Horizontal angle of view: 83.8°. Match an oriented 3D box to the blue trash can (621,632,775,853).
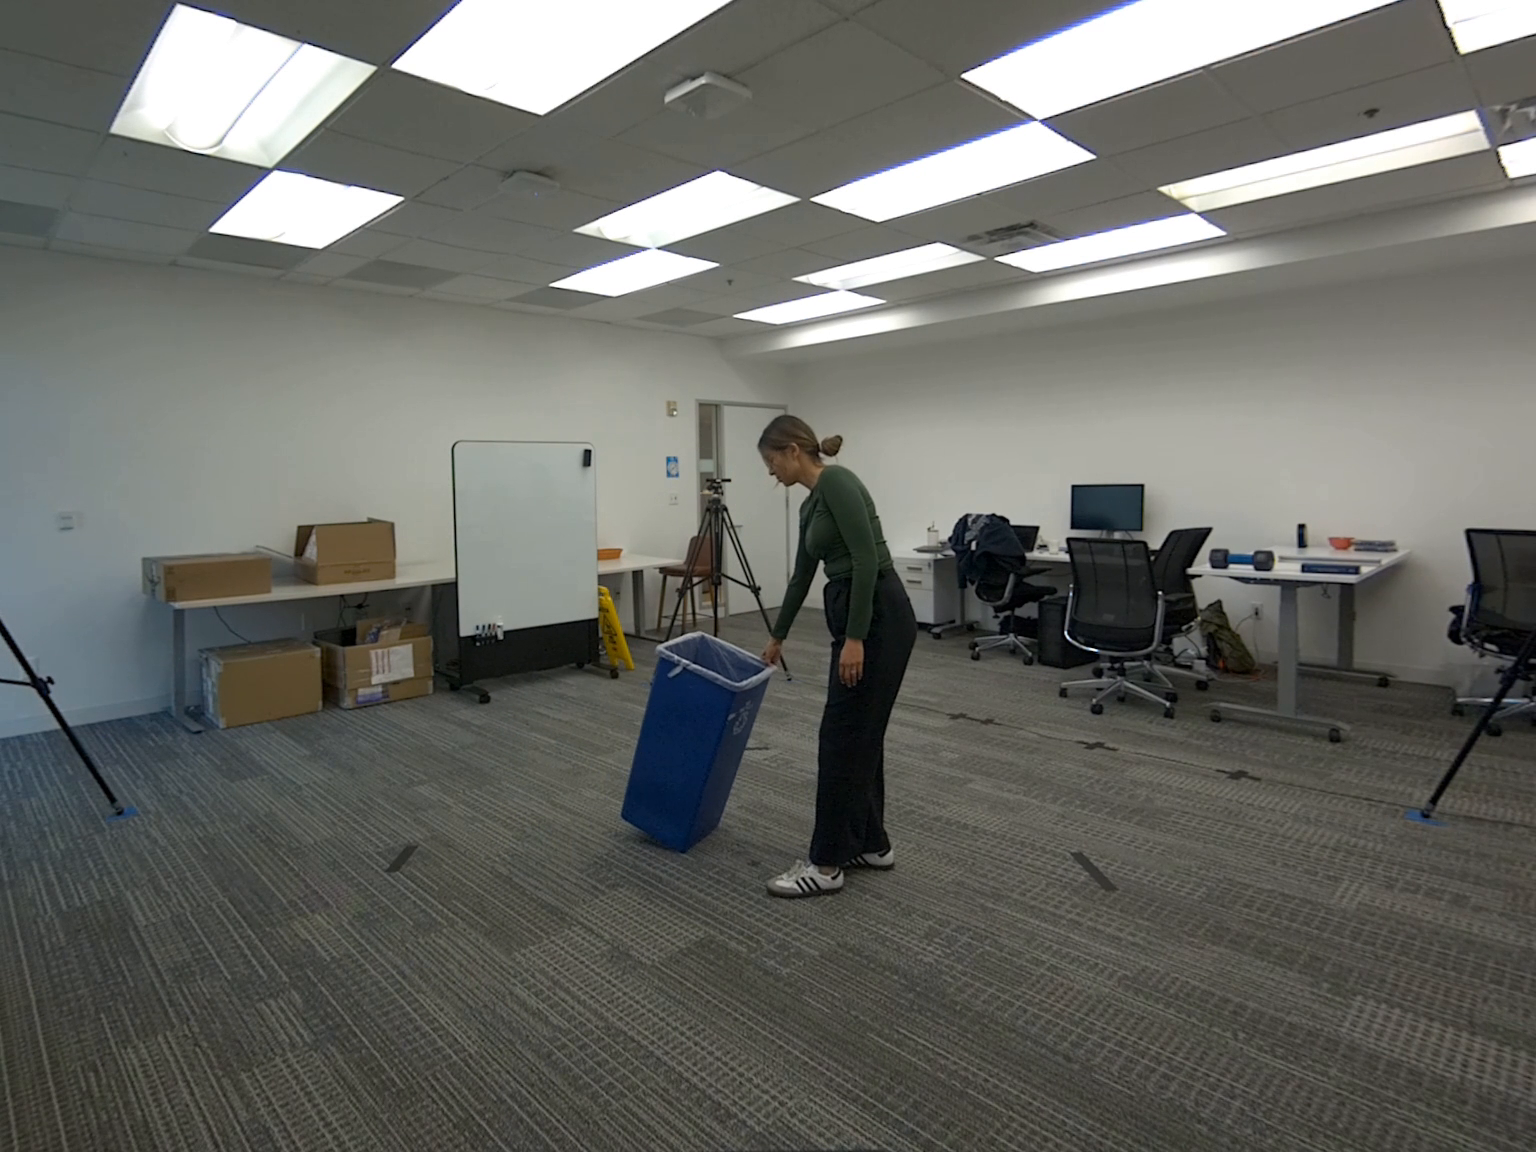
[{"bbox_3d":[-0.295,0.637,3.309,0.384,0.708,0.371,22,13,22],"label":"blue trash can"}]
